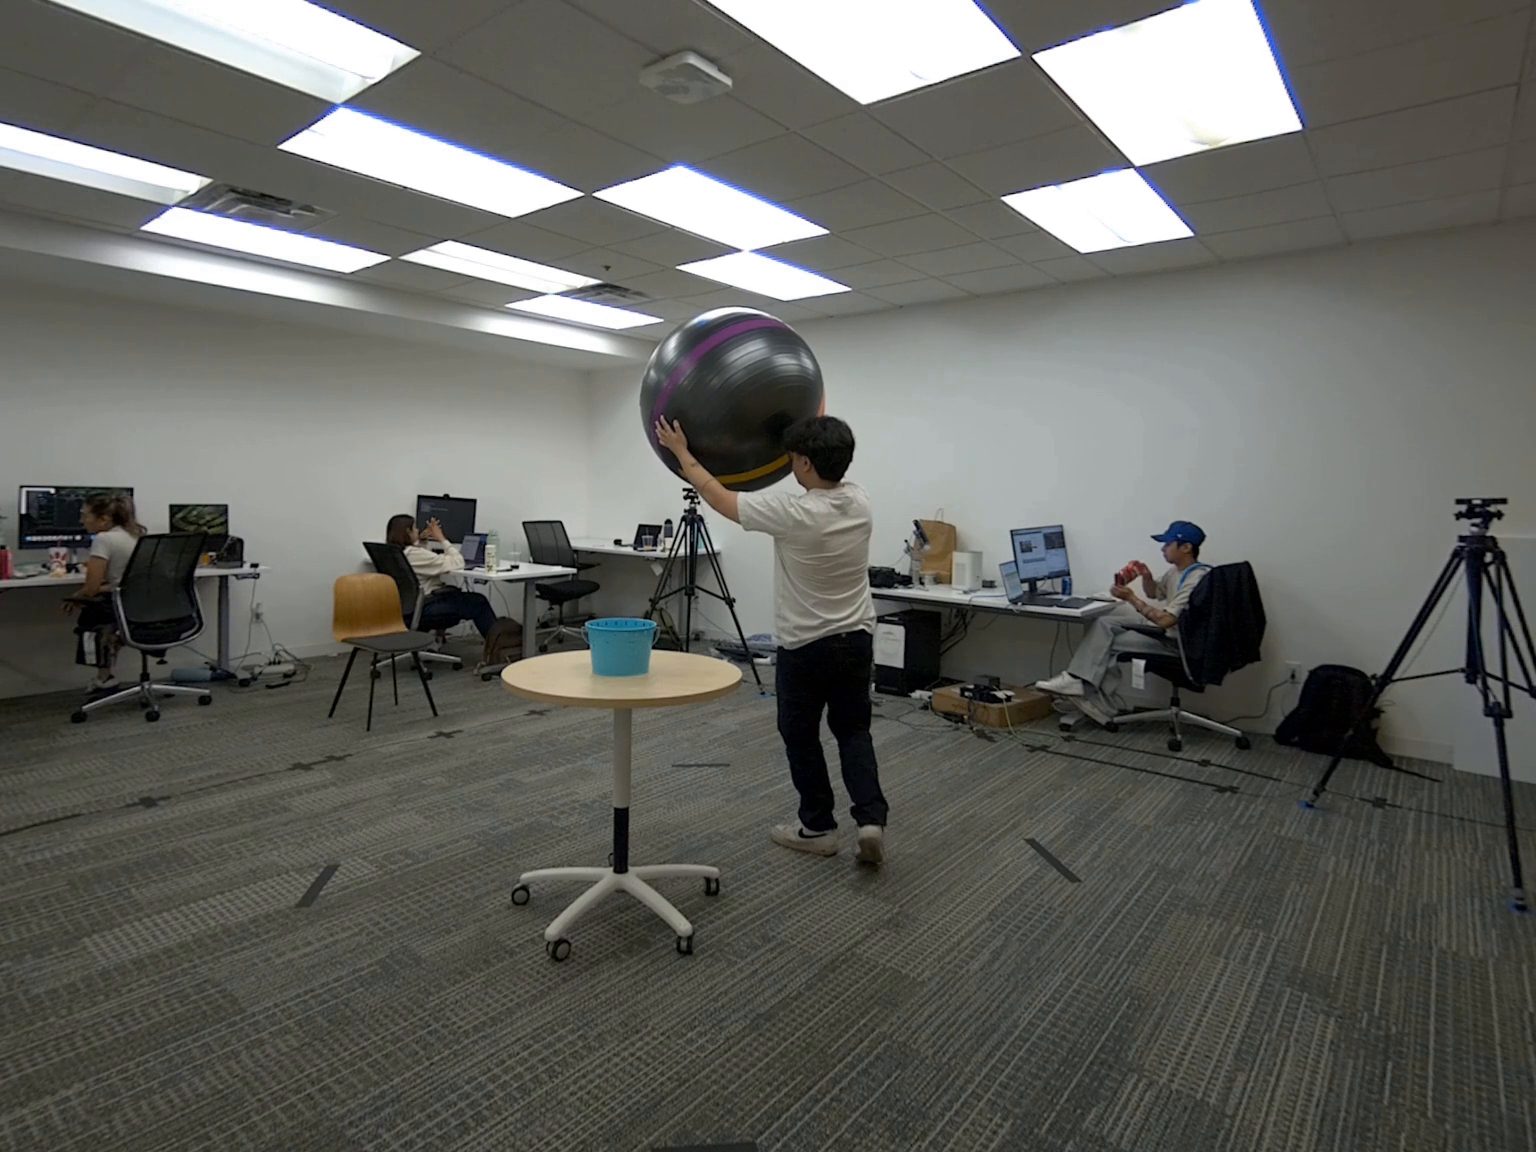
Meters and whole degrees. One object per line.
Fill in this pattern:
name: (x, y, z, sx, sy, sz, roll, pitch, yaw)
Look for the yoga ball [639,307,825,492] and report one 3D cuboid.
yoga ball: (-0.154, -0.714, 3.507, 0.757, 0.755, 0.762, 1, 4, -2)
